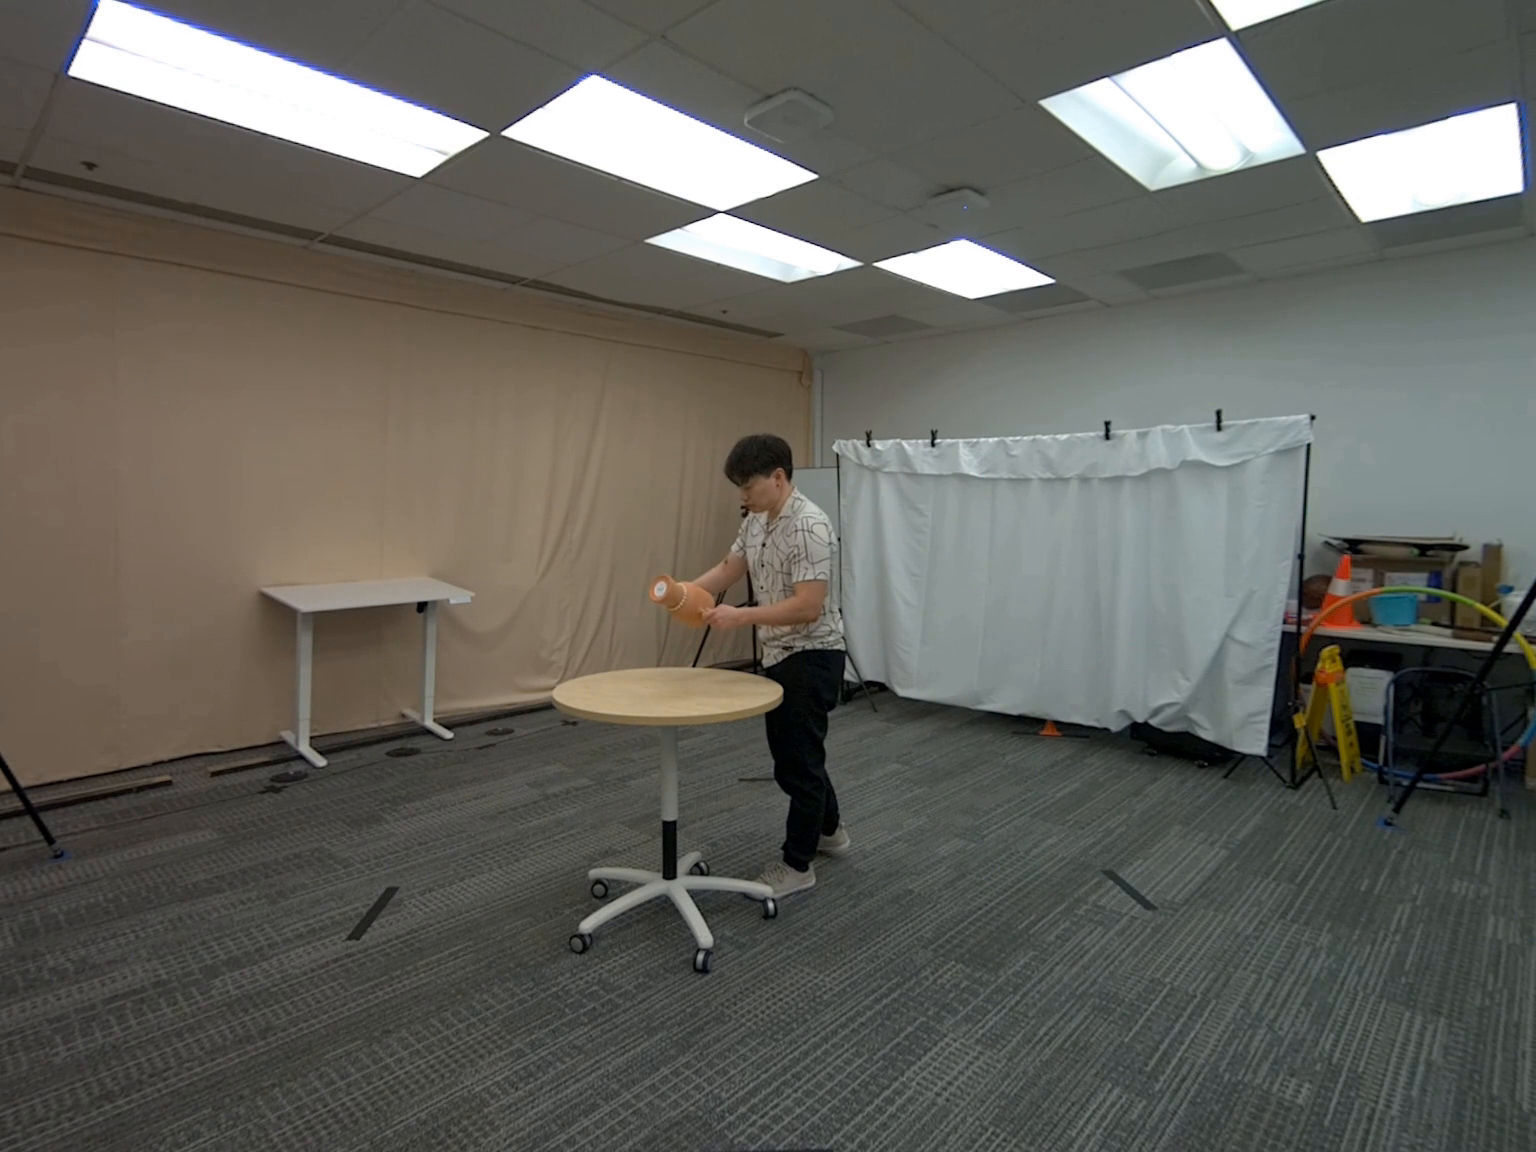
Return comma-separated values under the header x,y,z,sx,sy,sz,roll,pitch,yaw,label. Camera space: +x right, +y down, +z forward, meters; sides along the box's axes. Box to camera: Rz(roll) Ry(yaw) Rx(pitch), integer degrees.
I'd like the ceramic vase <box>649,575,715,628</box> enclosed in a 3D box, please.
x,y,z,sx,sy,sz,roll,pitch,yaw,label
-0.292,0.081,2.837,0.162,0.137,0.212,-20,-34,29,ceramic vase
